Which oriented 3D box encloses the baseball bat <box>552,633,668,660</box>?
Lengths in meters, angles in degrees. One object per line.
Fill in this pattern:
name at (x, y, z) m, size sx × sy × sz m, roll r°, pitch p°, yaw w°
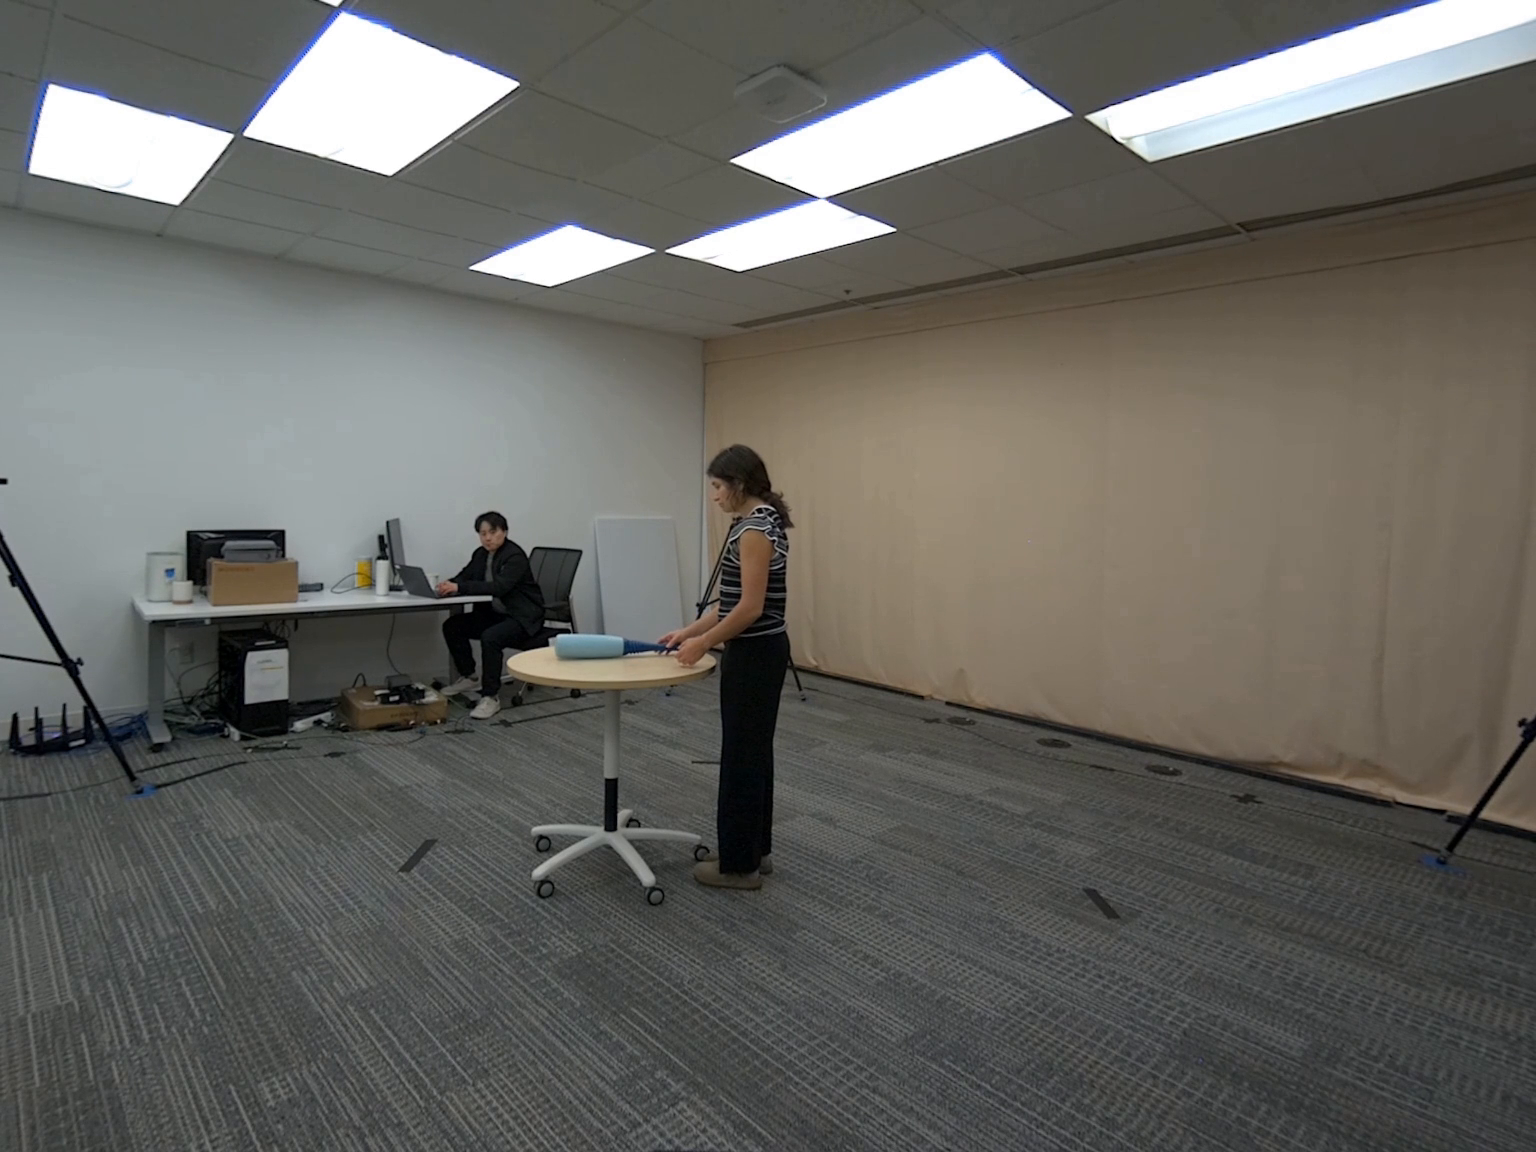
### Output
baseball bat at (-0.541, 0.270, 3.188) m, size 0.535 × 0.089 × 0.090 m, roll 2°, pitch 4°, yaw -18°
